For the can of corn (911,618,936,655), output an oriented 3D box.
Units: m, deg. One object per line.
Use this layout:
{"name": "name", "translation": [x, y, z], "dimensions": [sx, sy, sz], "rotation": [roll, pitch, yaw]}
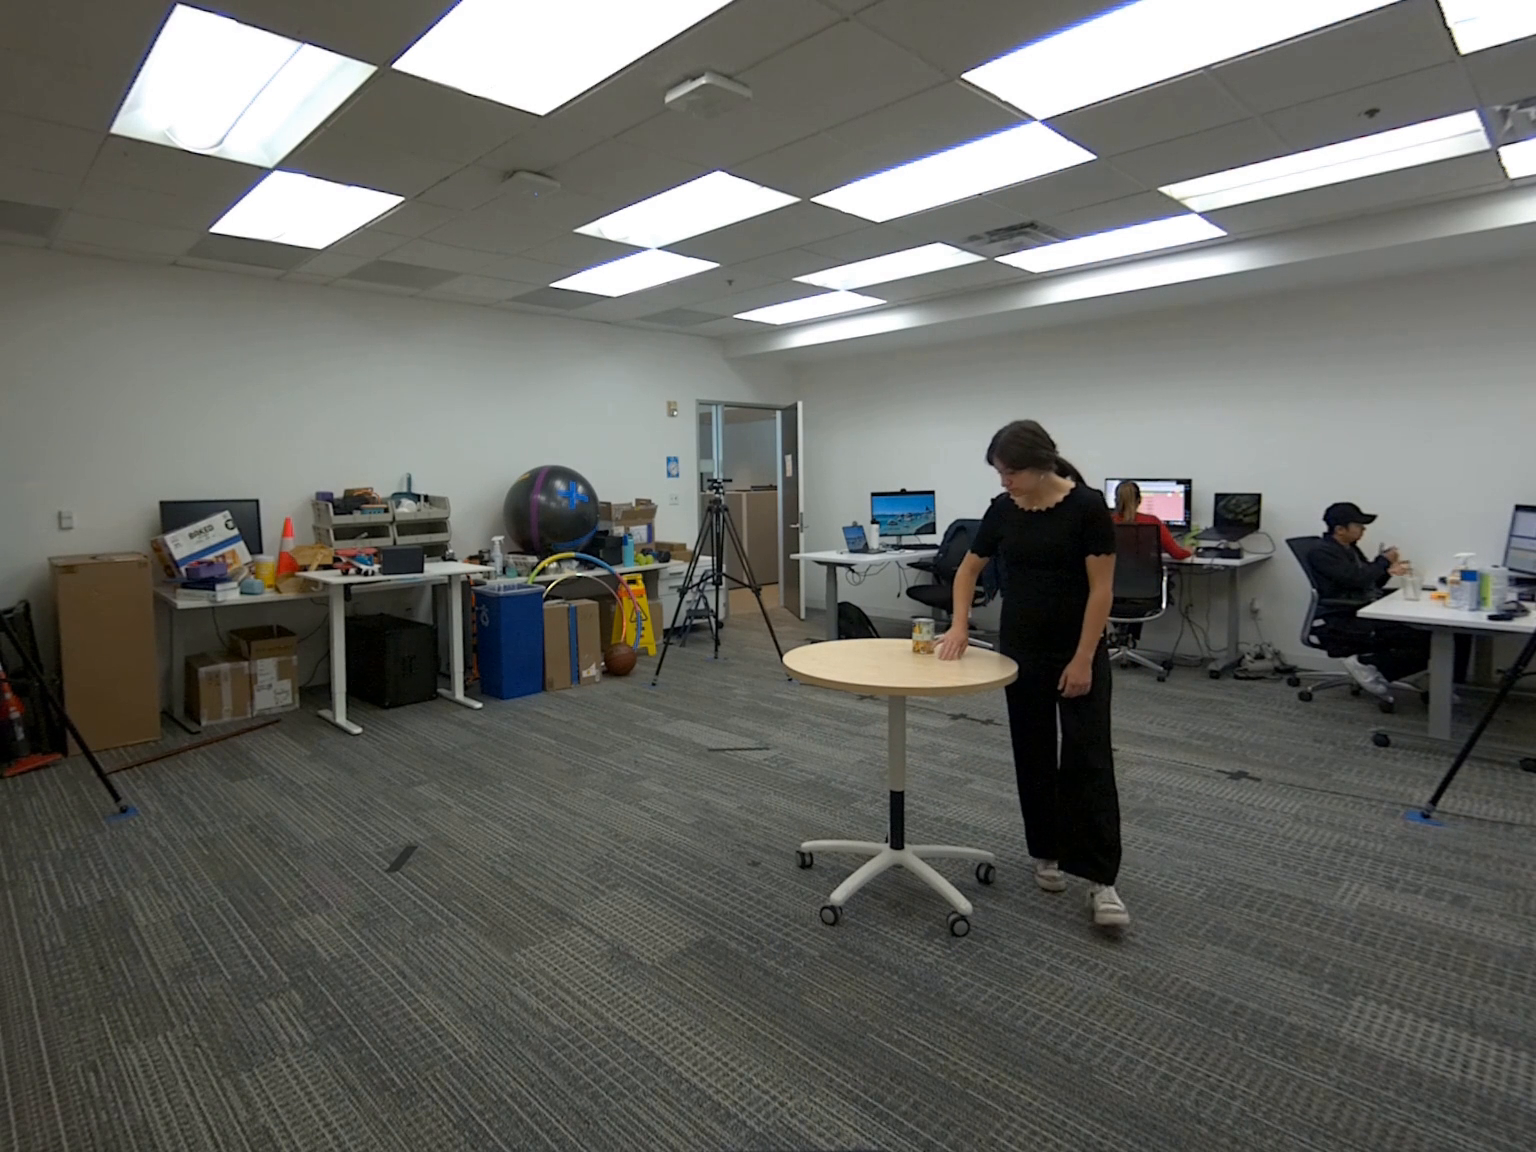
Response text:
{"name": "can of corn", "translation": [0.551, 0.214, 2.989], "dimensions": [0.074, 0.110, 0.075], "rotation": [4, 6, -2]}
